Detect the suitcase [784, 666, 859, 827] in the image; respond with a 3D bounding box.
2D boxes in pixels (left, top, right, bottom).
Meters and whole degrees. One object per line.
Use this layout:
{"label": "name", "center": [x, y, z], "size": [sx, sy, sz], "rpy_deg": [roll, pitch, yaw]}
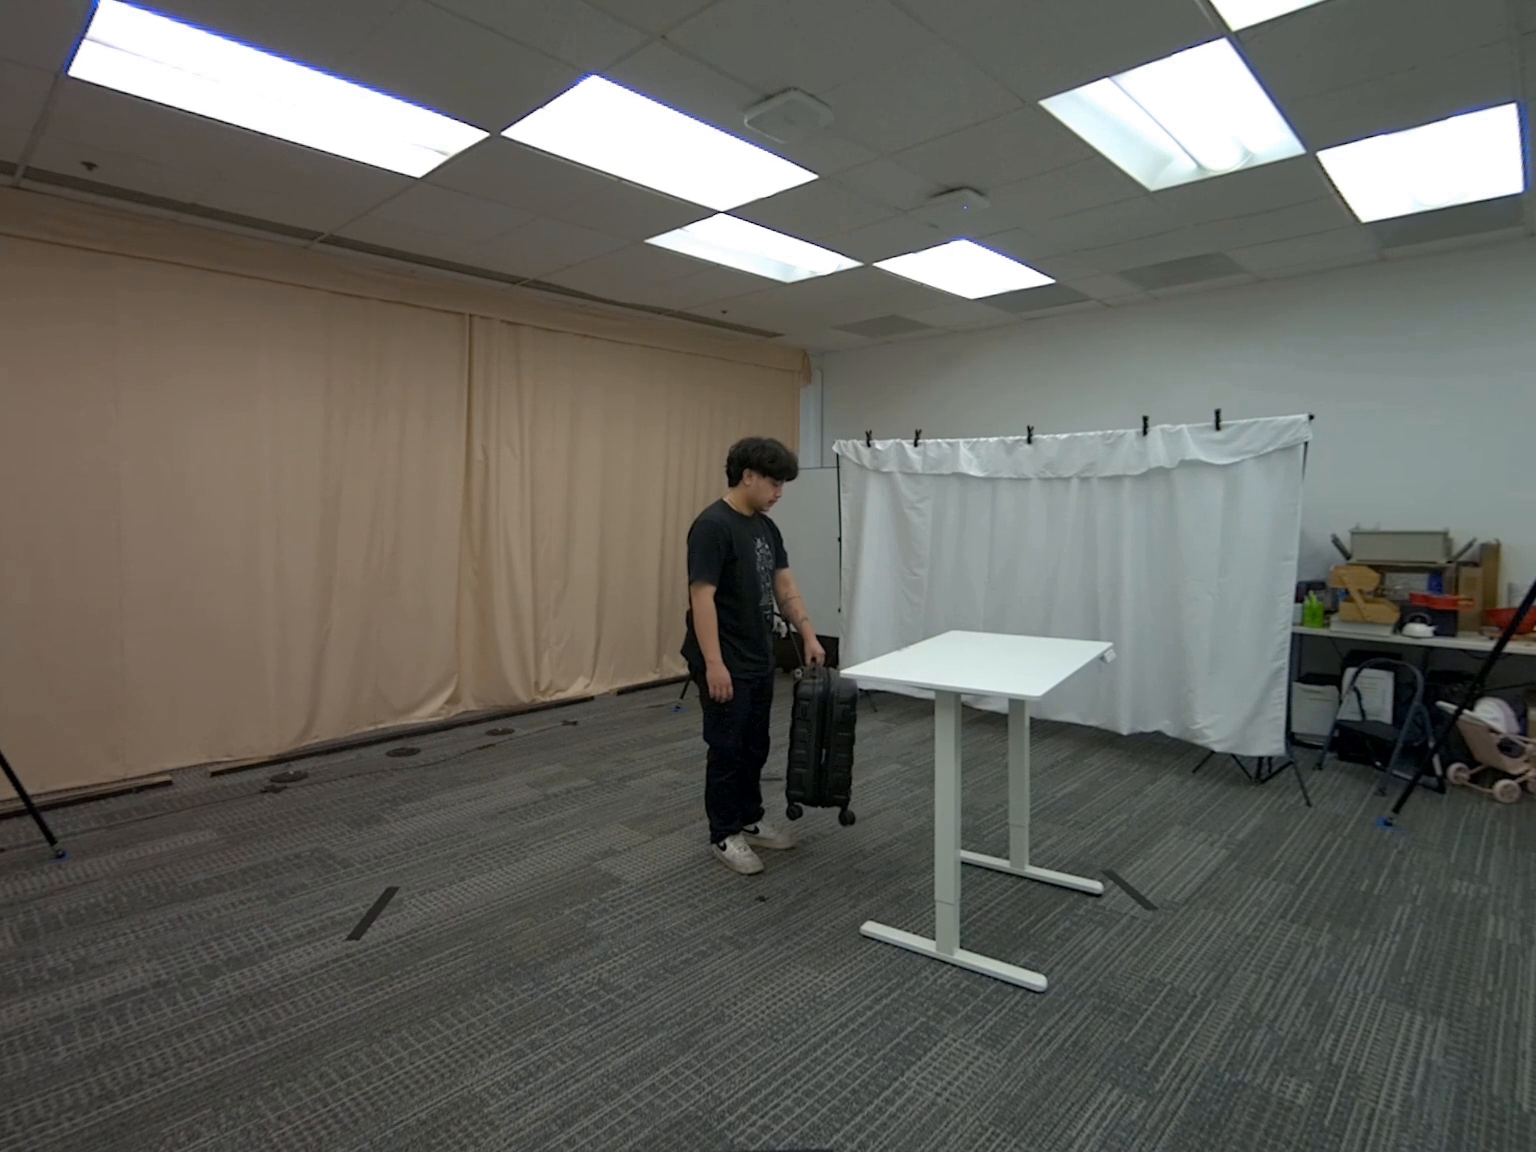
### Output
{"label": "suitcase", "center": [0.212, 0.644, 3.338], "size": [0.249, 0.549, 0.374], "rpy_deg": [4, 2, 3]}
